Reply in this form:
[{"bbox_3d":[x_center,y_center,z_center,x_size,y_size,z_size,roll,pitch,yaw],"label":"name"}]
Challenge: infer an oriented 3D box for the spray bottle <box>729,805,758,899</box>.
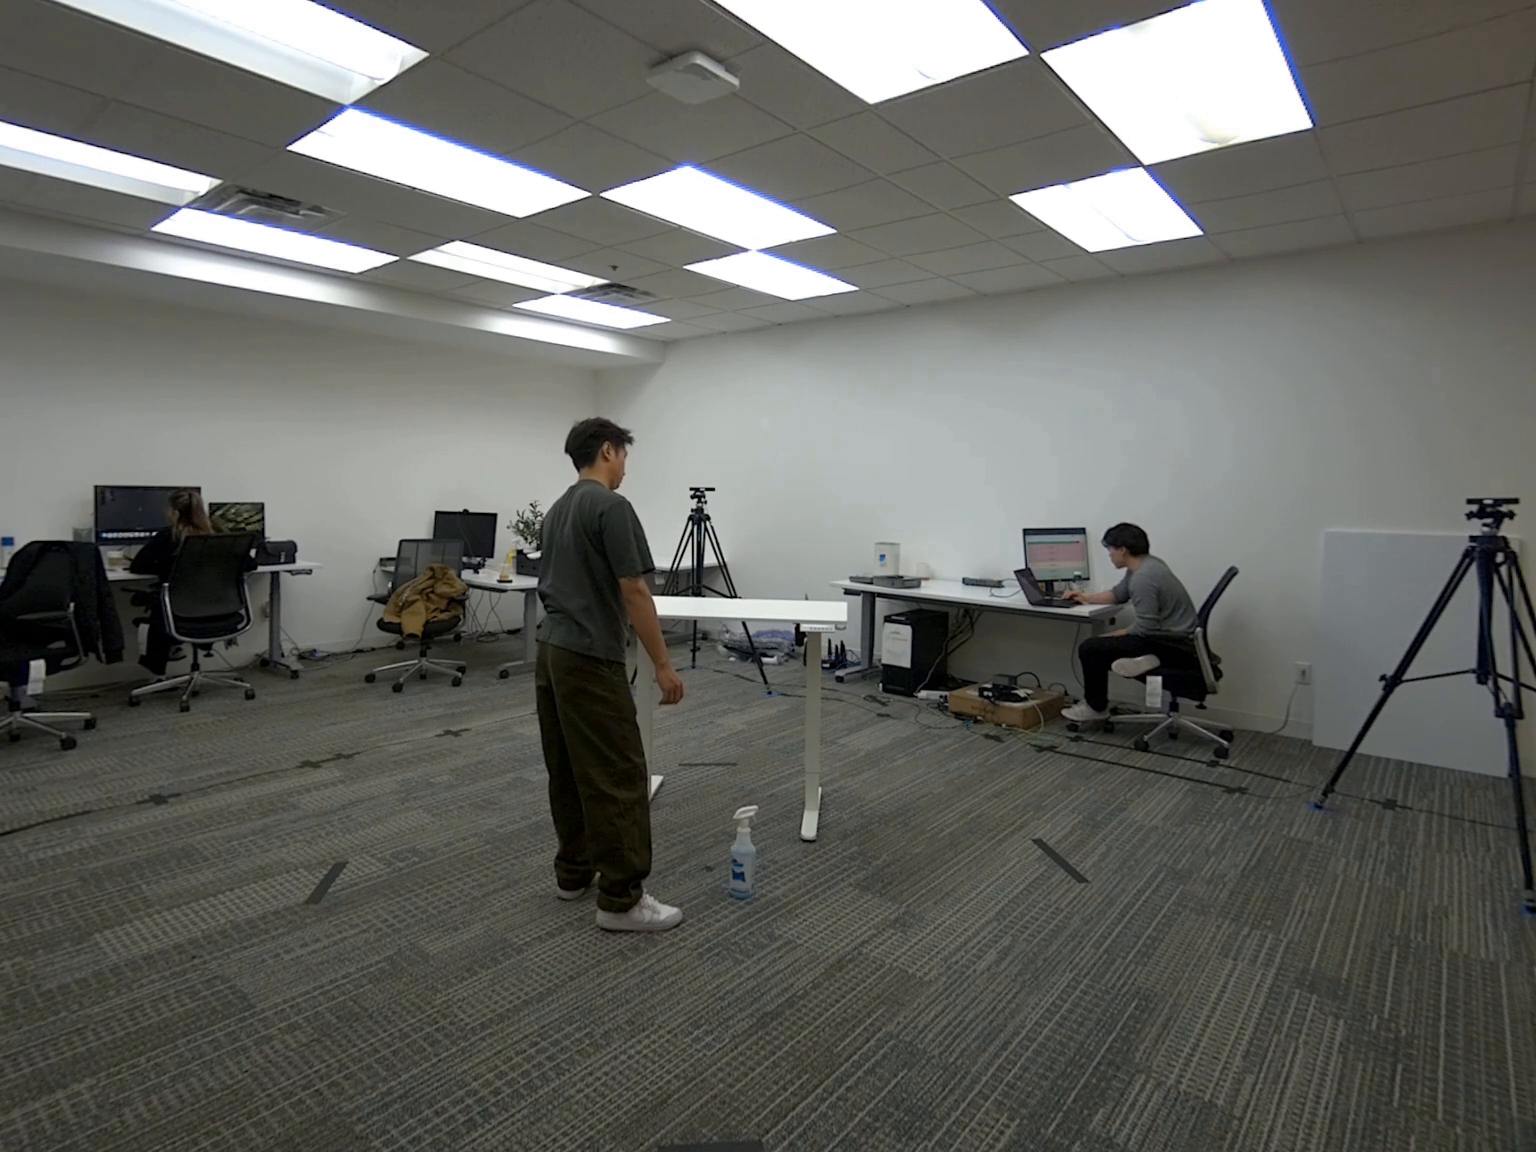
[{"bbox_3d":[-0.093,0.946,2.912,0.089,0.297,0.087,3,1,-5],"label":"spray bottle"}]
